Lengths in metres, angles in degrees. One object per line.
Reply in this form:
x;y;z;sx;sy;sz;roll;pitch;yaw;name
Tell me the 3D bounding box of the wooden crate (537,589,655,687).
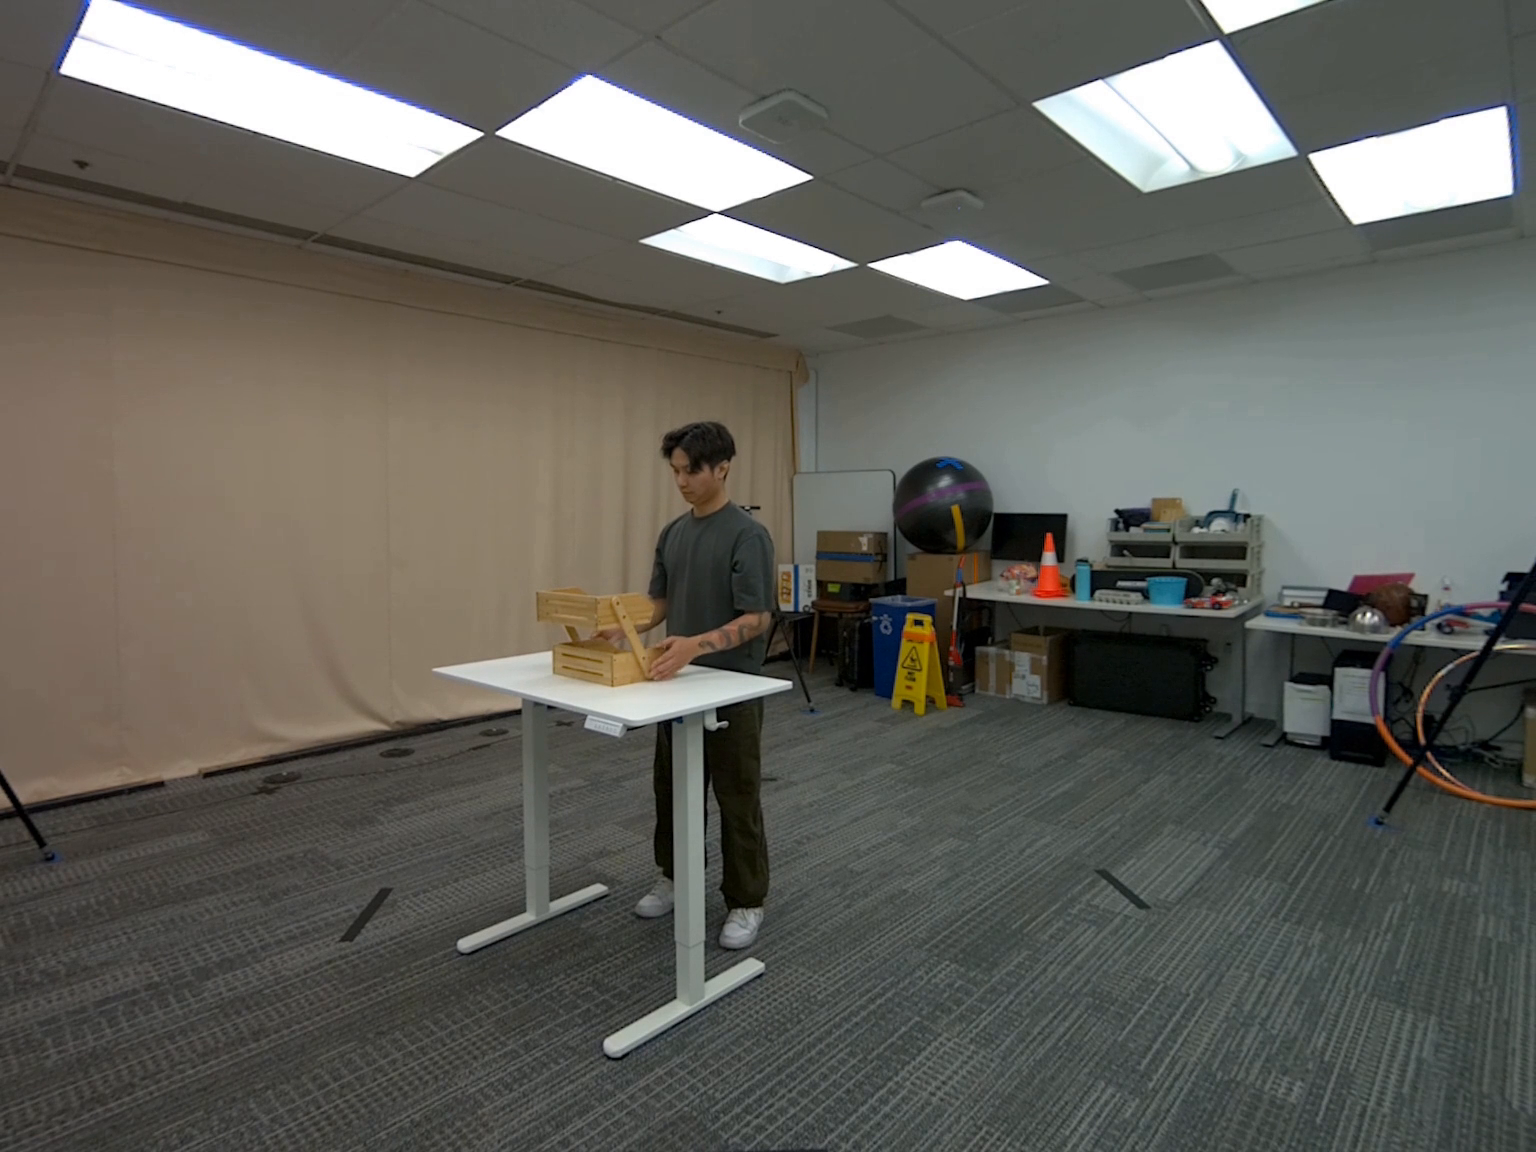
-0.480;0.170;2.548;0.335;0.273;0.293;2;5;42;wooden crate
